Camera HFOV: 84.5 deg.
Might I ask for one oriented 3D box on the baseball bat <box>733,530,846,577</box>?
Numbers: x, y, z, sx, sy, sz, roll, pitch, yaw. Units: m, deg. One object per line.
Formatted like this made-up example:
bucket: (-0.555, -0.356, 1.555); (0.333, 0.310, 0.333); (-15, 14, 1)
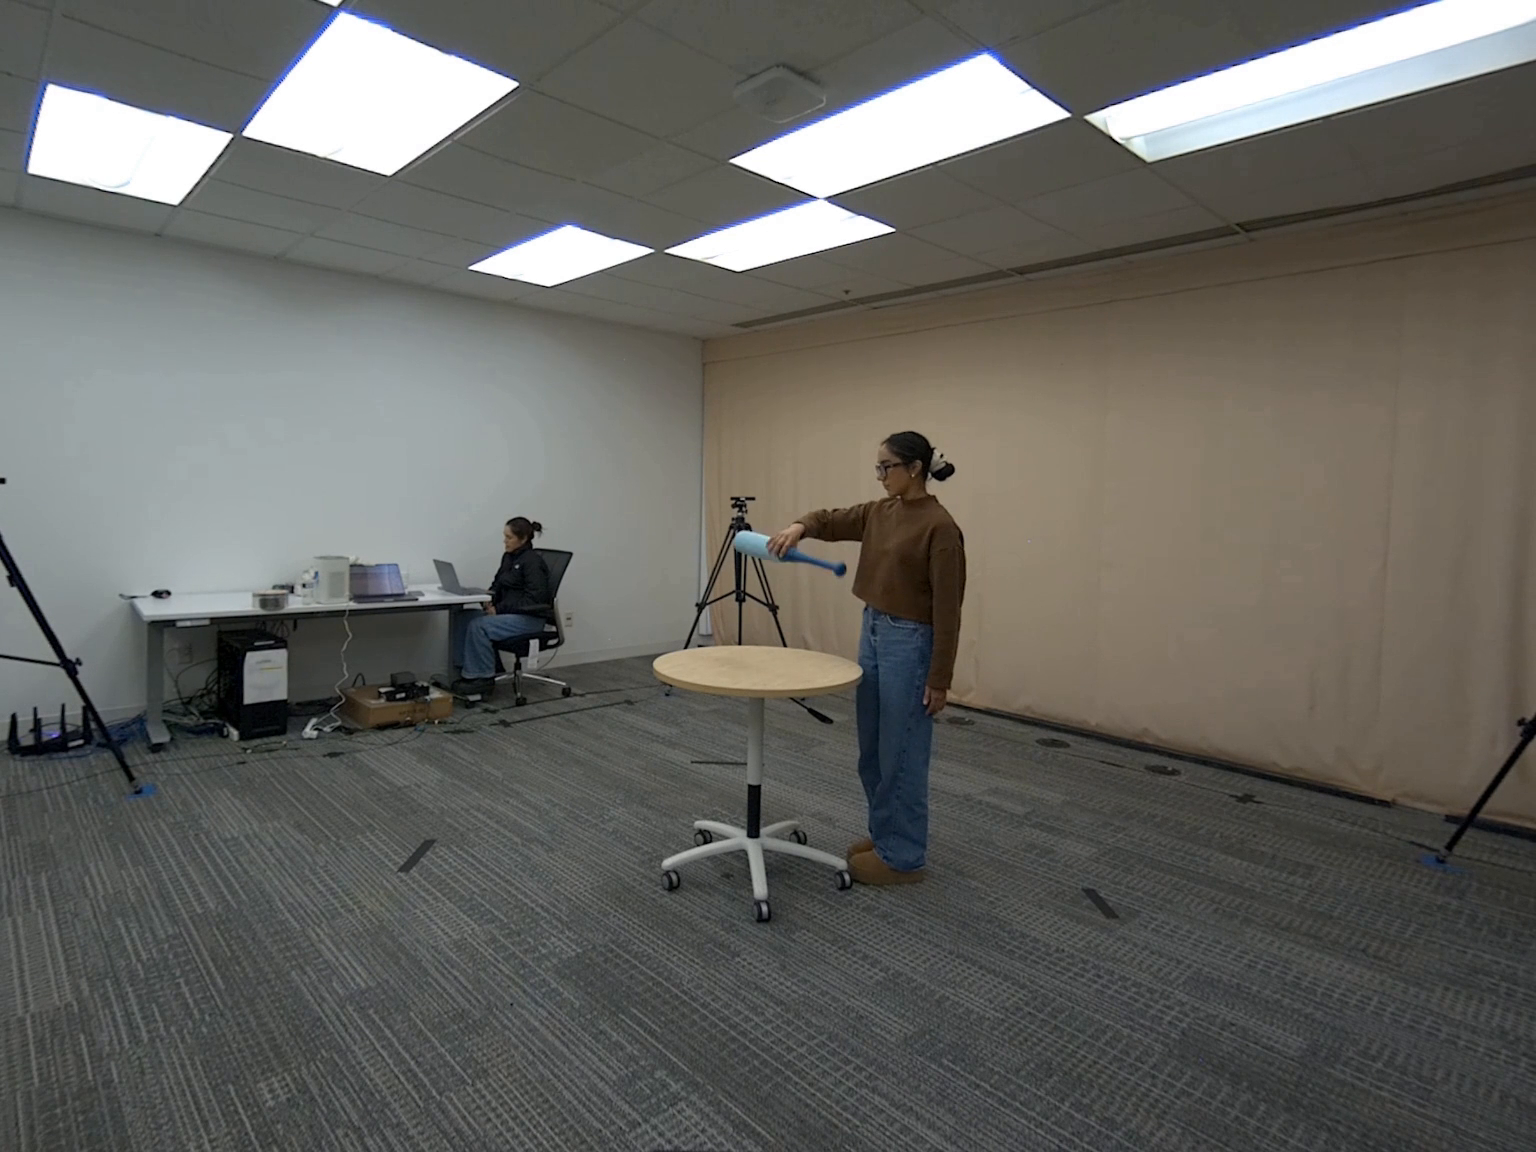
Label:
baseball bat: (0.075, -0.073, 3.033); (0.087, 0.088, 0.559); (-2, 15, -42)
